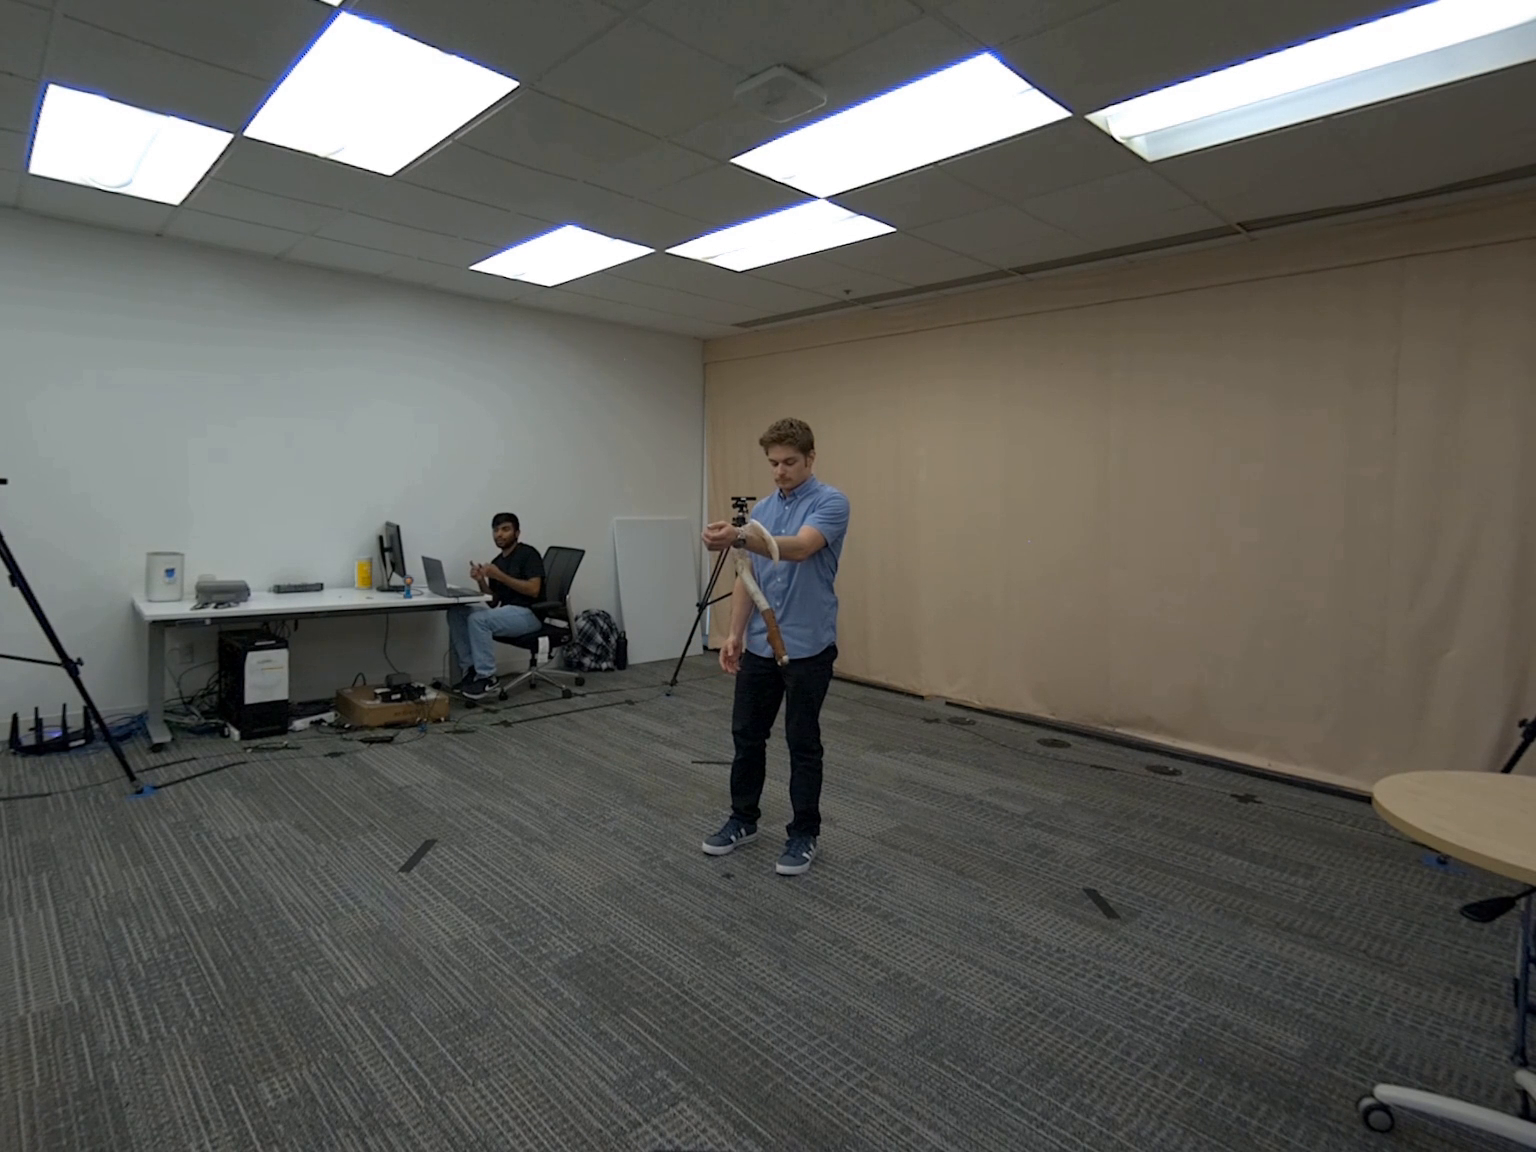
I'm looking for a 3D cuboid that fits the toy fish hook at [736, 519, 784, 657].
[{"bbox_3d":[-0.011,0.055,2.874,0.047,0.515,0.225,-6,-21,-35],"label":"toy fish hook"}]
